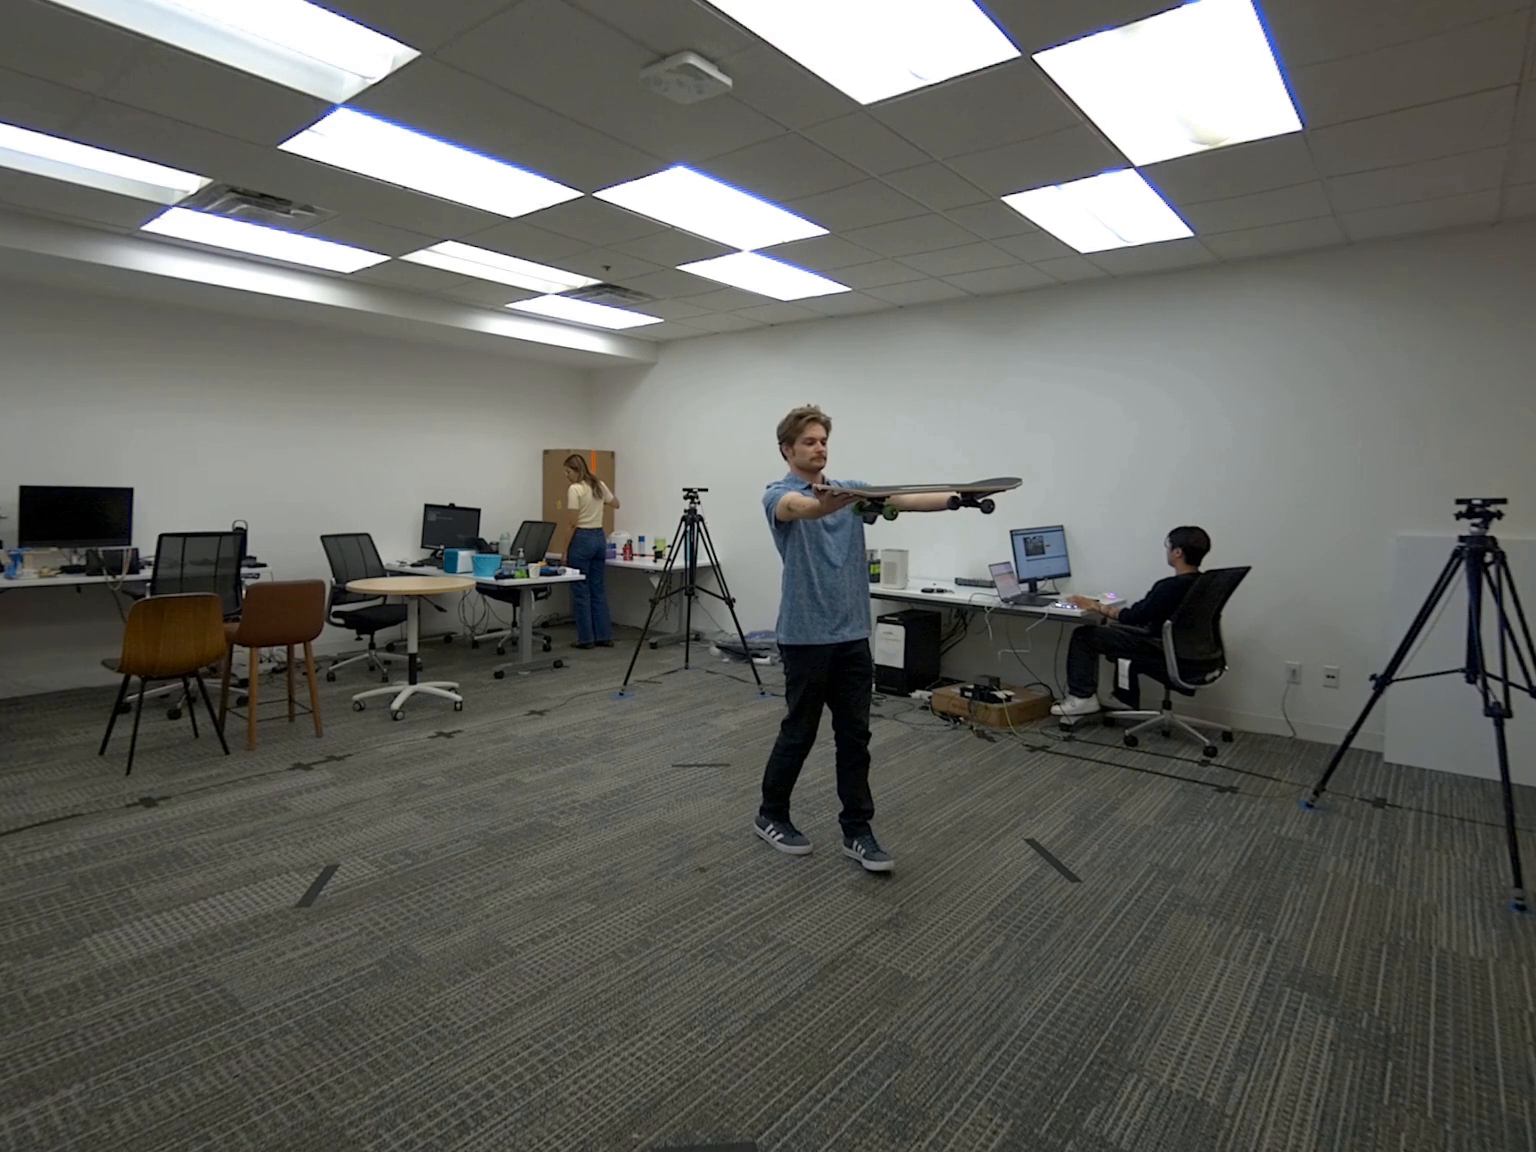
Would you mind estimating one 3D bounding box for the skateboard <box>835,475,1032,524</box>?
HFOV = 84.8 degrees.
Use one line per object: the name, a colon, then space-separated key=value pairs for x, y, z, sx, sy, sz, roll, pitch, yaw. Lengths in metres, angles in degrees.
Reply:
skateboard: x=0.507 y=-0.257 z=2.736 sx=0.766 sy=0.109 sz=0.200 roll=-7 pitch=10 yaw=-30
